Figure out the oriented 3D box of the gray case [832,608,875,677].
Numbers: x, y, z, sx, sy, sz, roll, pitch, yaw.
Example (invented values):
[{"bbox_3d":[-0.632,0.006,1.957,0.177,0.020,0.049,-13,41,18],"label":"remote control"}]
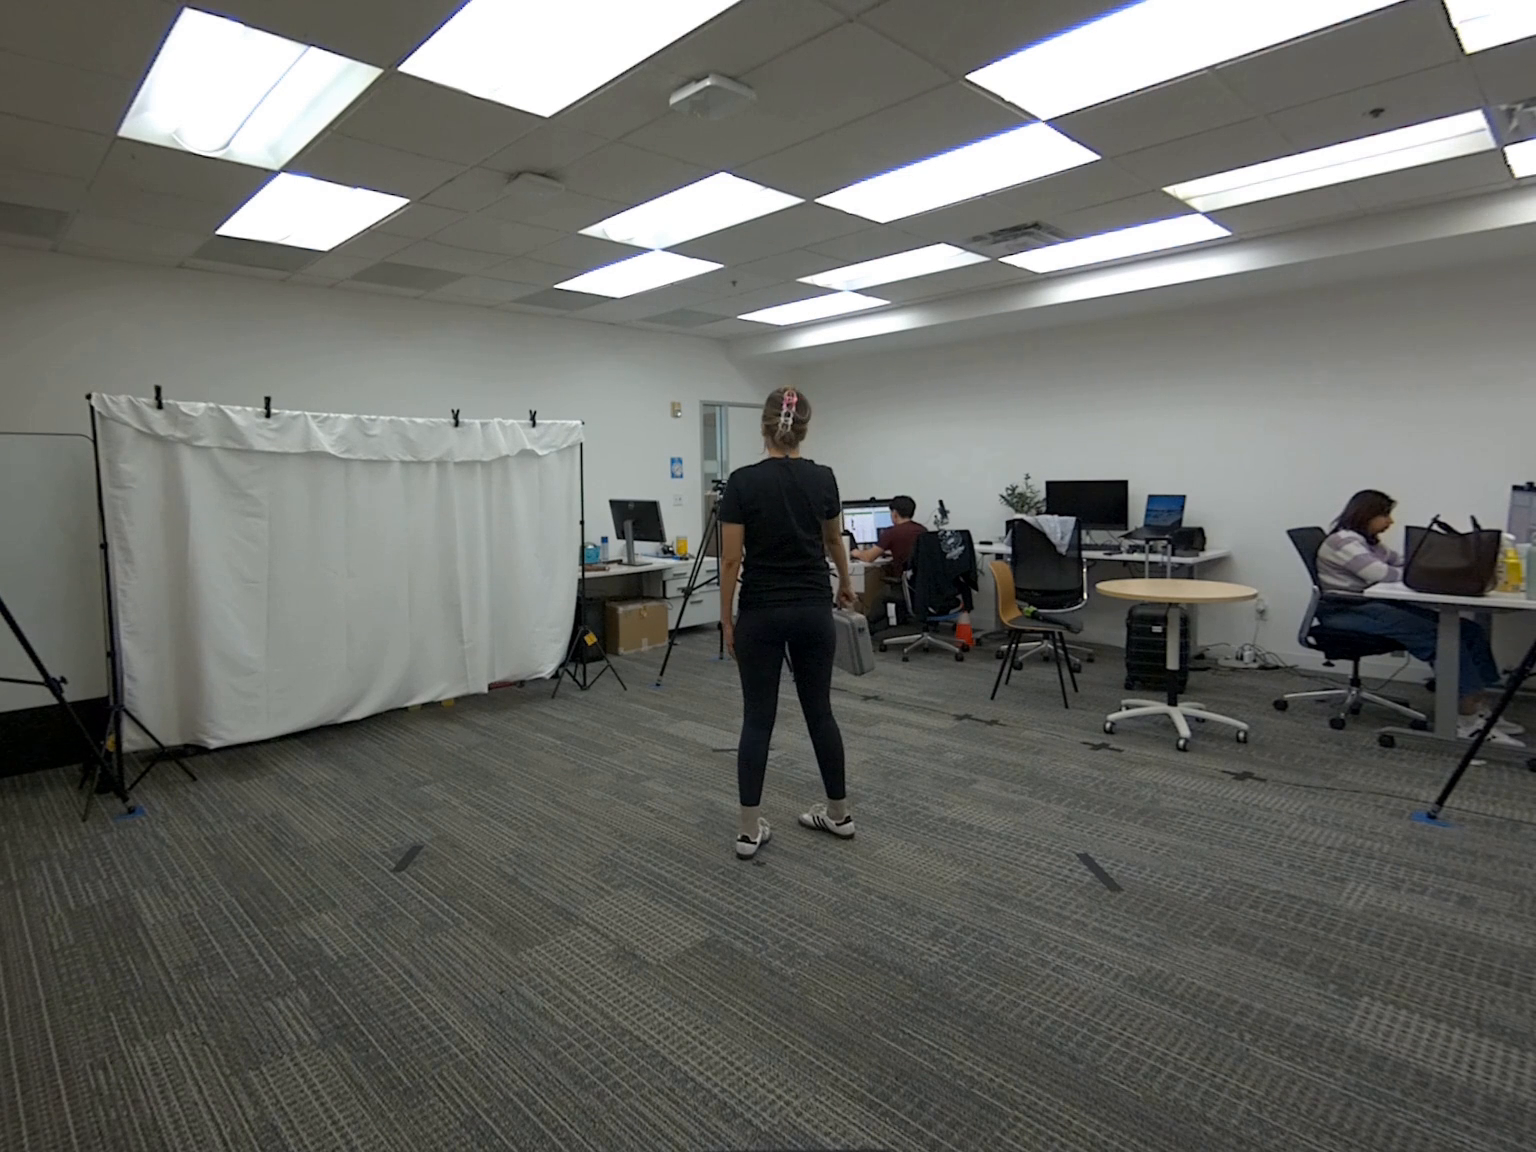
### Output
[{"bbox_3d":[0.341,0.272,3.655,0.103,0.258,0.262,-14,11,-17],"label":"gray case"}]
